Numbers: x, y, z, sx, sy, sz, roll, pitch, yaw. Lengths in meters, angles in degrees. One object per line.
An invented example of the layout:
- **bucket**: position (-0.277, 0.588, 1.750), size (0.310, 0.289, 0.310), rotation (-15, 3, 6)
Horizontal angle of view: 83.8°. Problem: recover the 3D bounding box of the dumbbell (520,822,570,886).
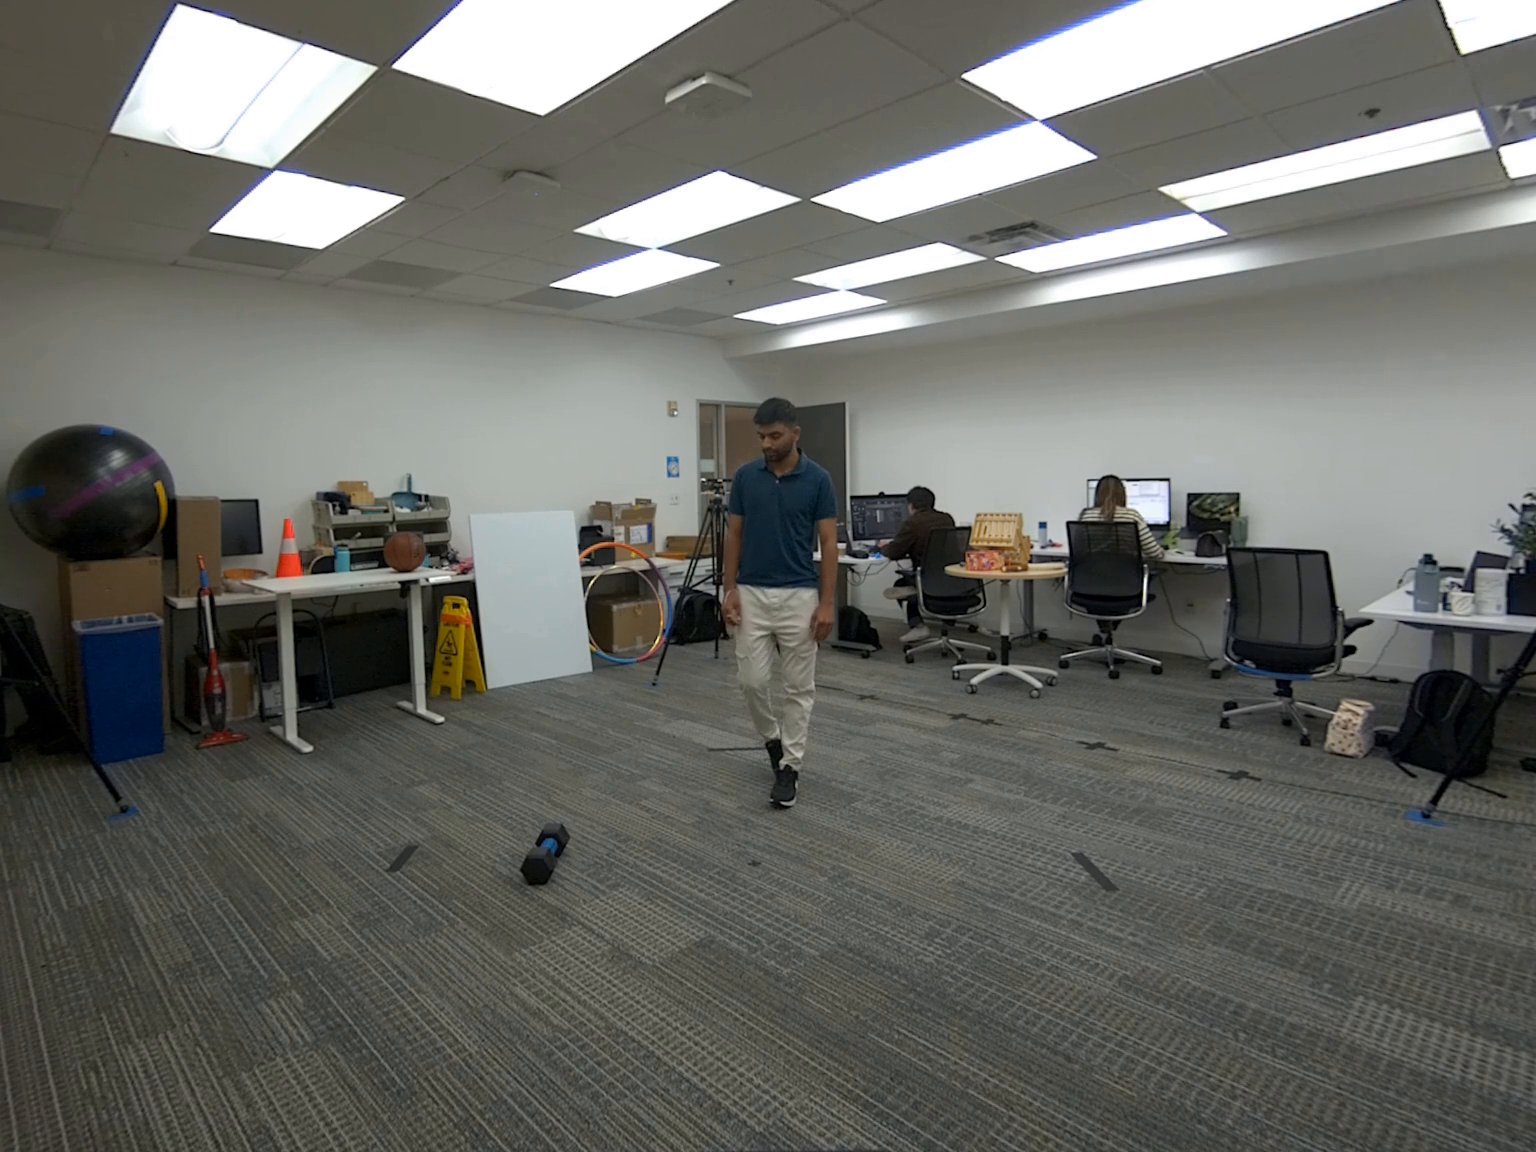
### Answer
- **dumbbell**: position (-0.804, 1.007, 3.104), size (0.109, 0.122, 0.295), rotation (-31, 6, 2)
